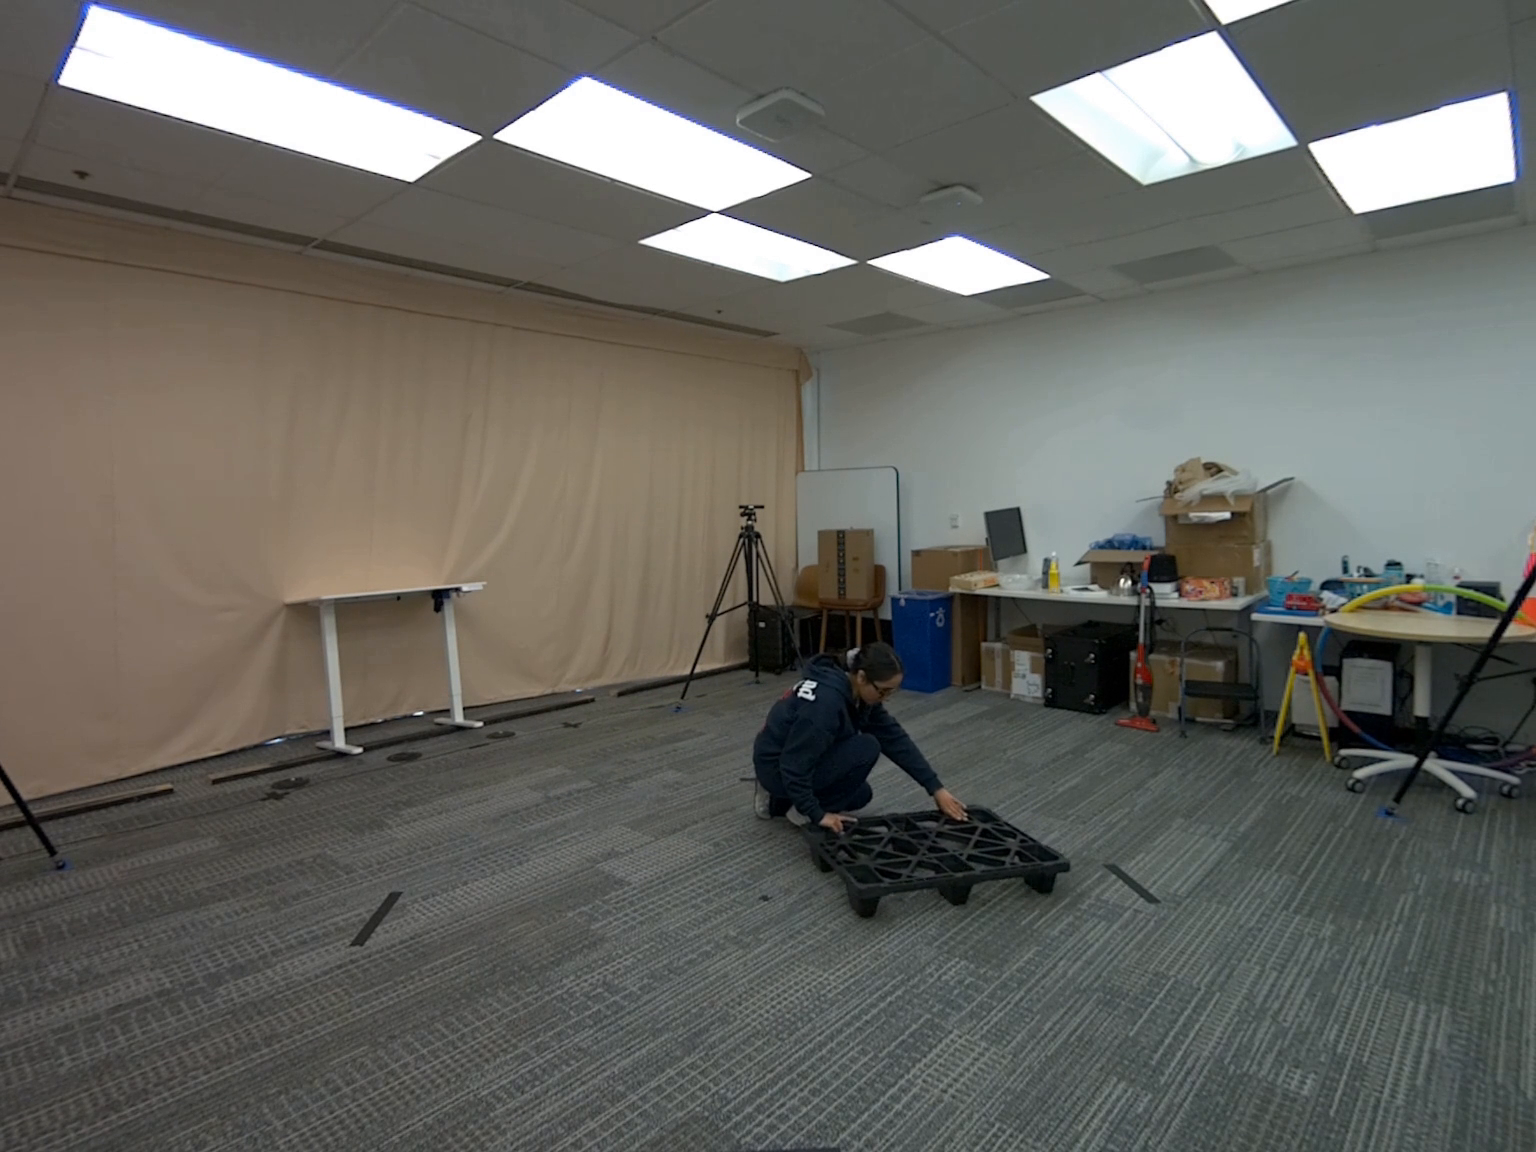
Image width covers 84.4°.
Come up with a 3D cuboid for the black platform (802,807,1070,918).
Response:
[{"bbox_3d":[0.590,1.048,3.126,0.793,0.143,0.615,-1,4,-15],"label":"black platform"}]
